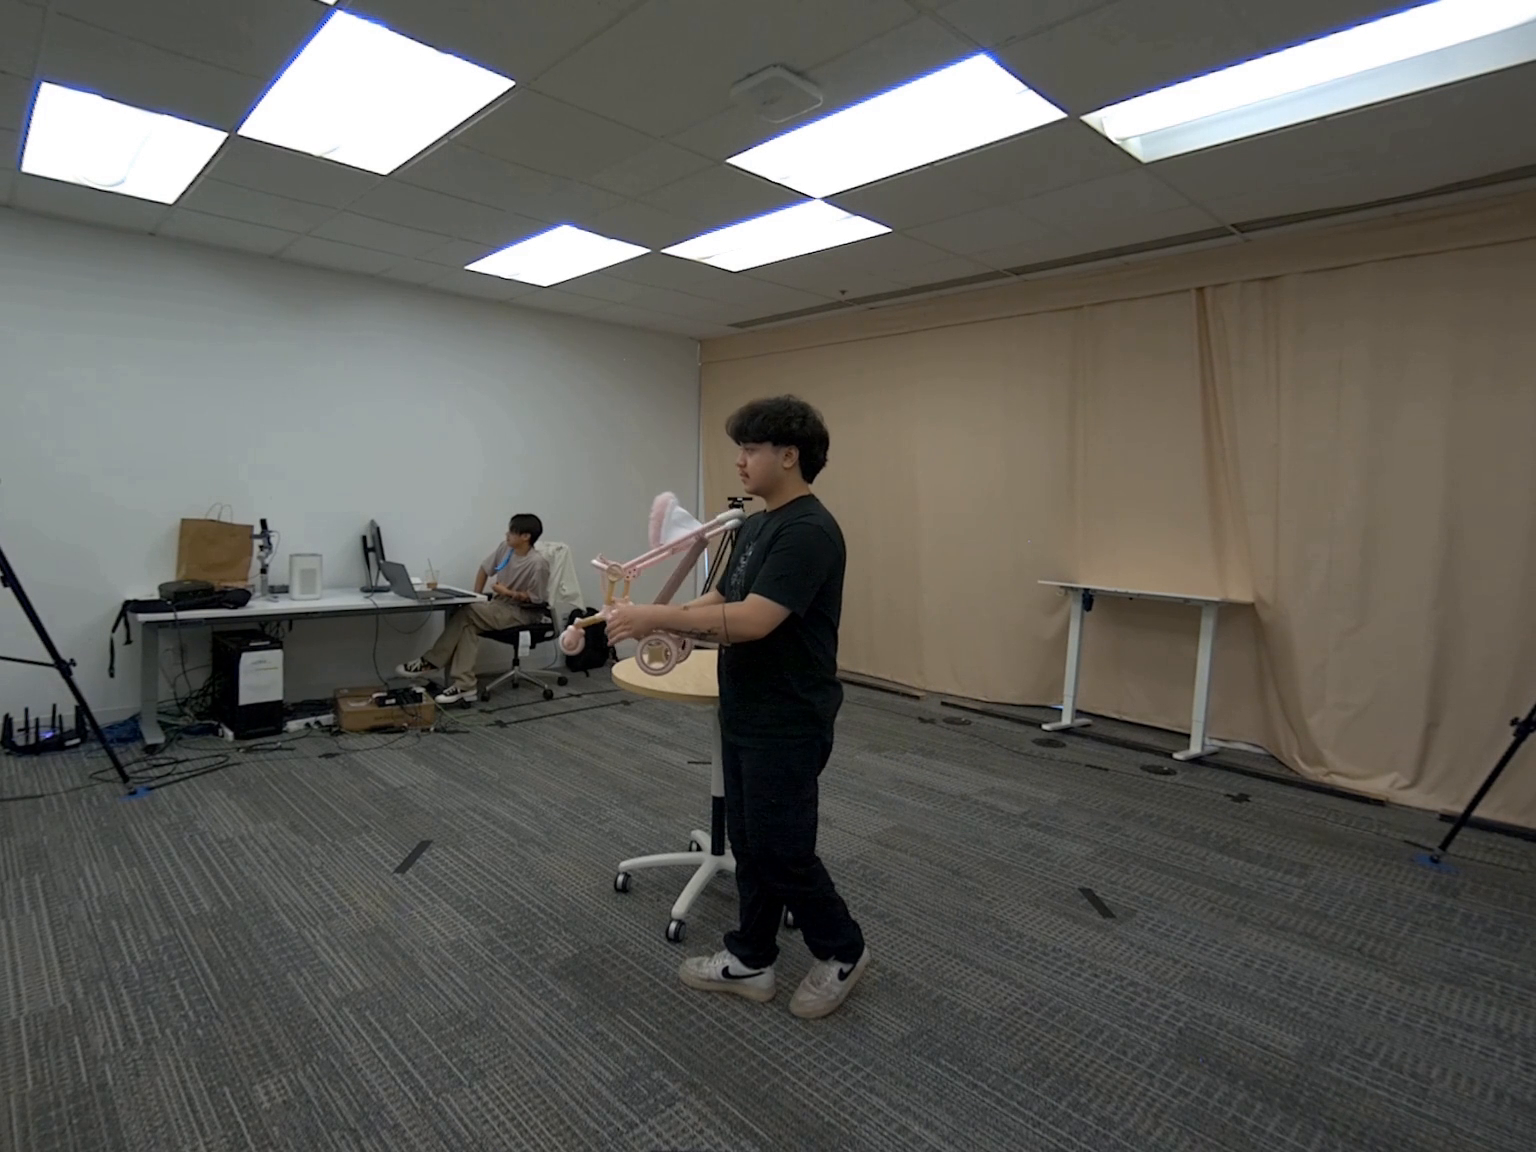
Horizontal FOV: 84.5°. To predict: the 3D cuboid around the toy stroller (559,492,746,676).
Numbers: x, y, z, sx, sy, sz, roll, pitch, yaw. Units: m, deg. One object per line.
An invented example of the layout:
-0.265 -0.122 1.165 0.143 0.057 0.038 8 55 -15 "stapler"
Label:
-0.320 0.017 2.247 0.345 0.534 0.279 22 2 9 "toy stroller"
